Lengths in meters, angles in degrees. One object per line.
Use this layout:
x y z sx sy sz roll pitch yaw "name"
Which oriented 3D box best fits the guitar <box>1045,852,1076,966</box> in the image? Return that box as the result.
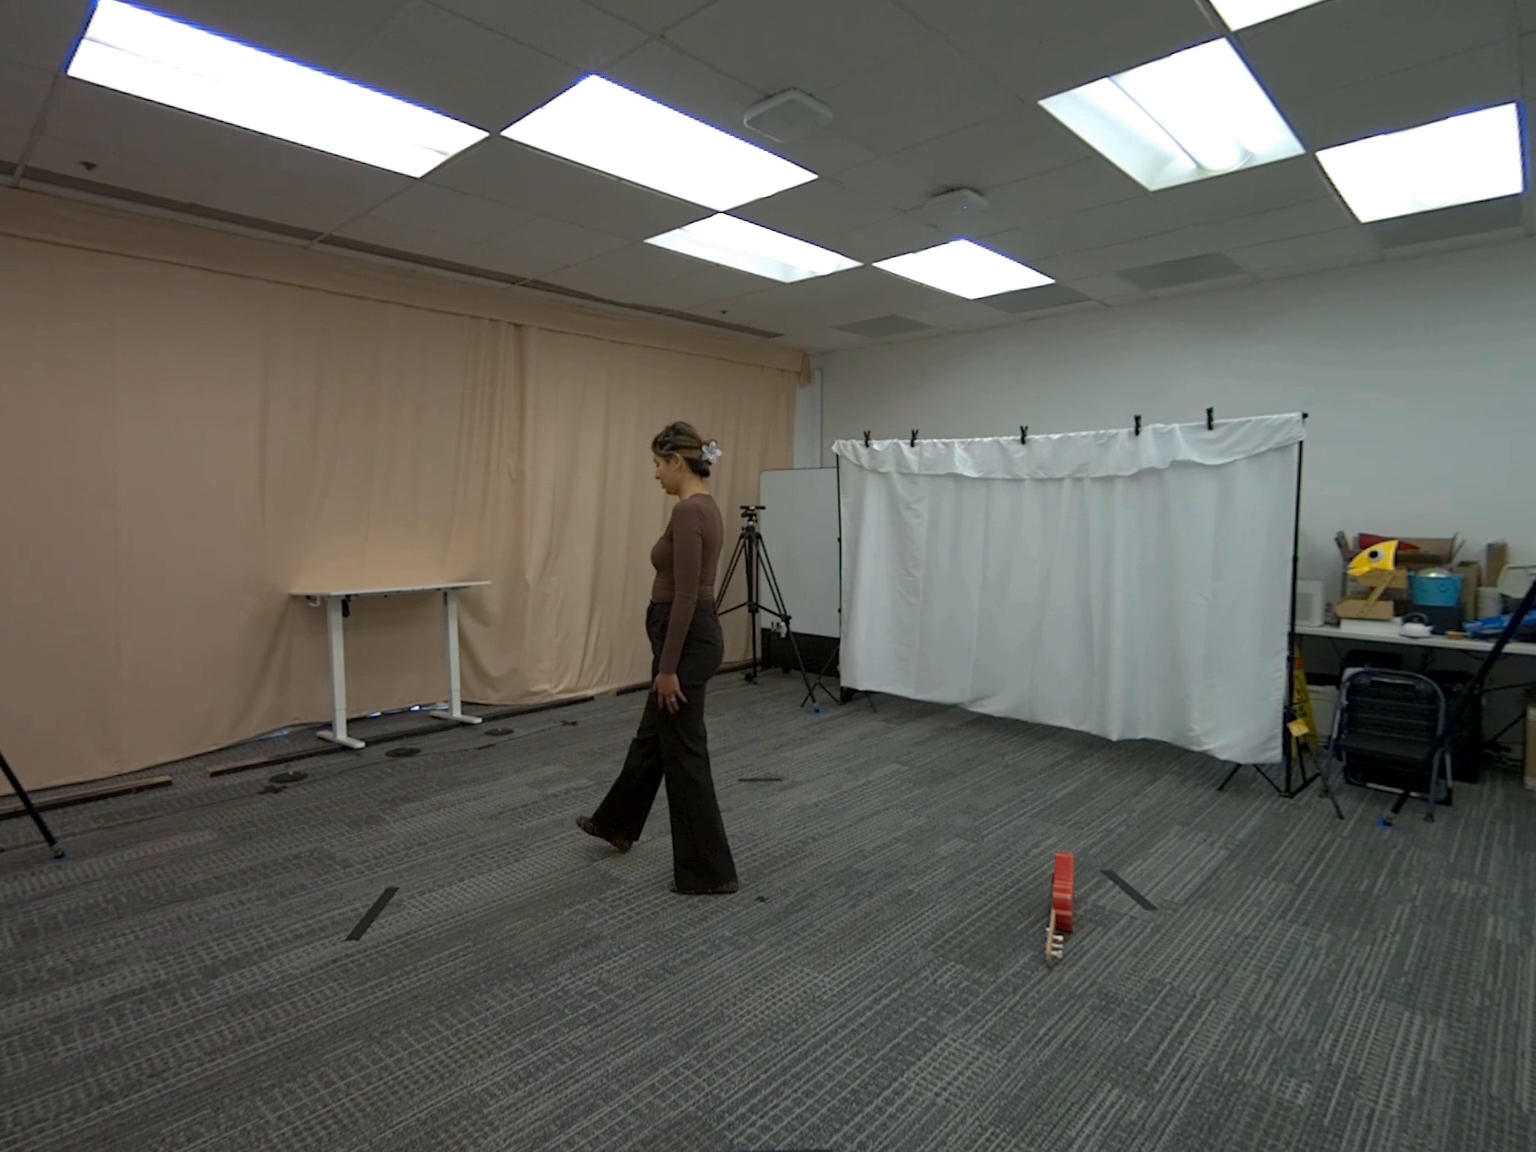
0.962 1.124 2.741 0.072 0.190 0.493 0 23 23 "guitar"
